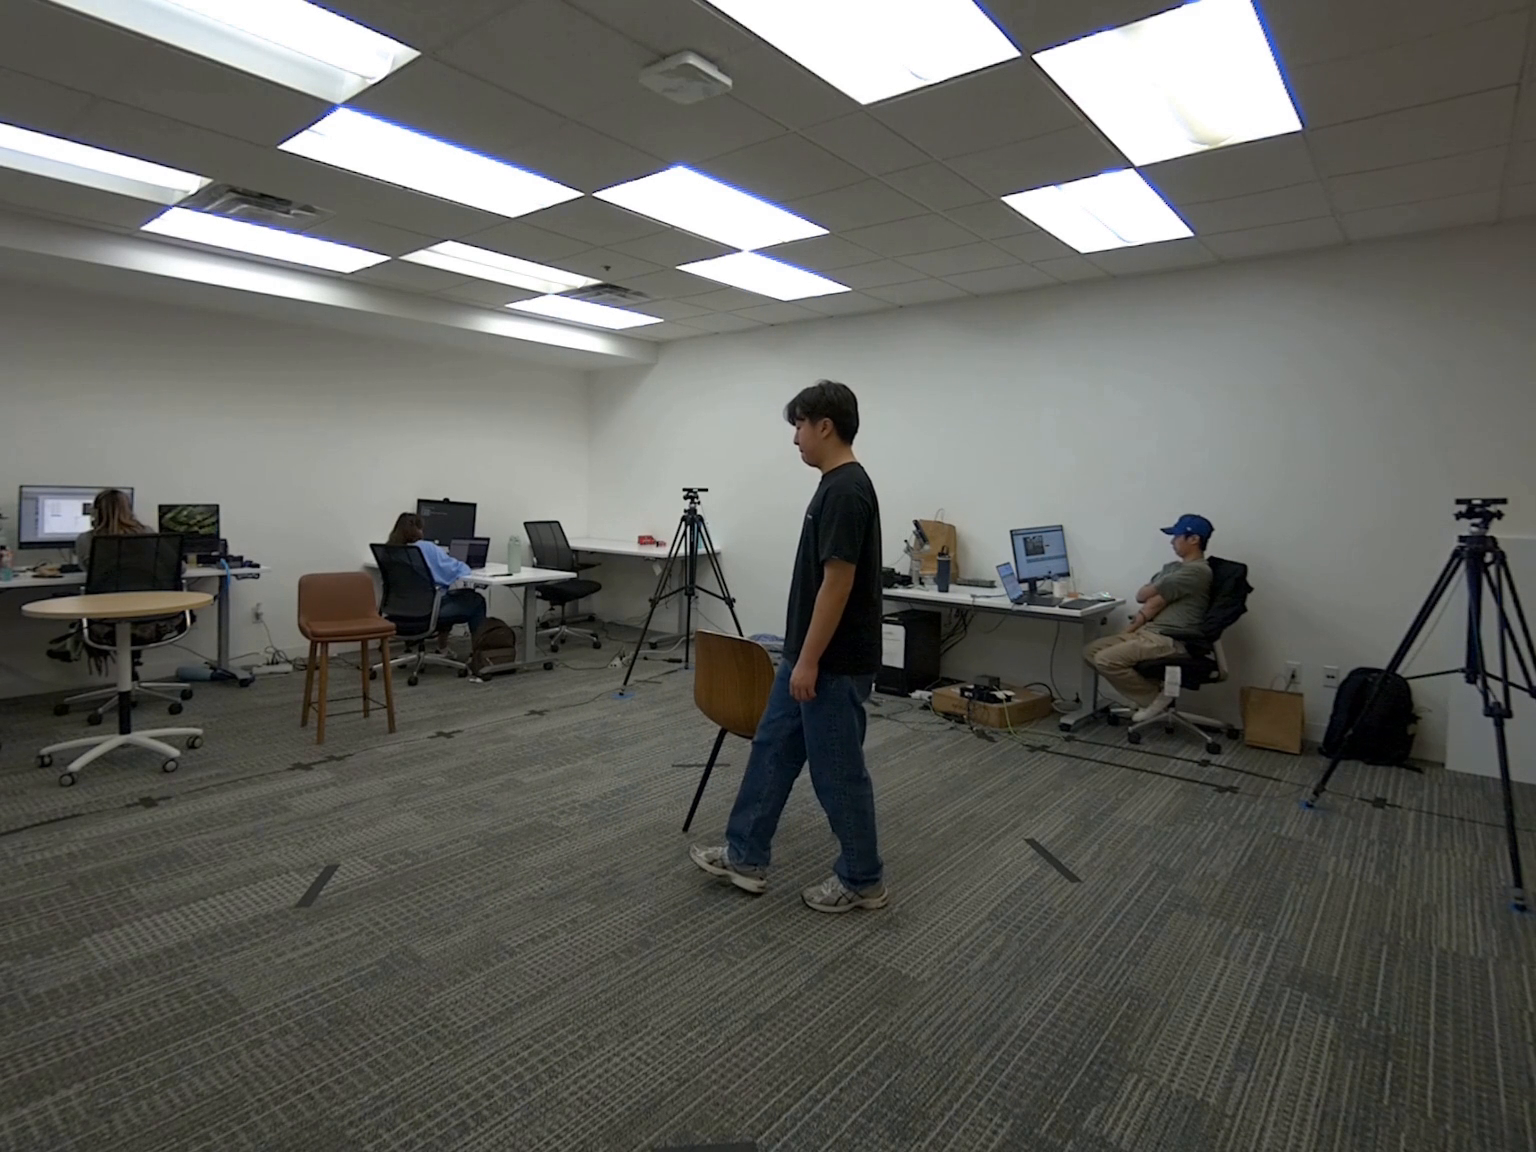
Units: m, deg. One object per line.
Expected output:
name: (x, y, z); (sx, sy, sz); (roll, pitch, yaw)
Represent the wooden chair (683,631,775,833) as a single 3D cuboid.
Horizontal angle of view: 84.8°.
wooden chair: (-0.032, 0.612, 3.445); (0.494, 0.872, 0.509); (4, 8, 40)
